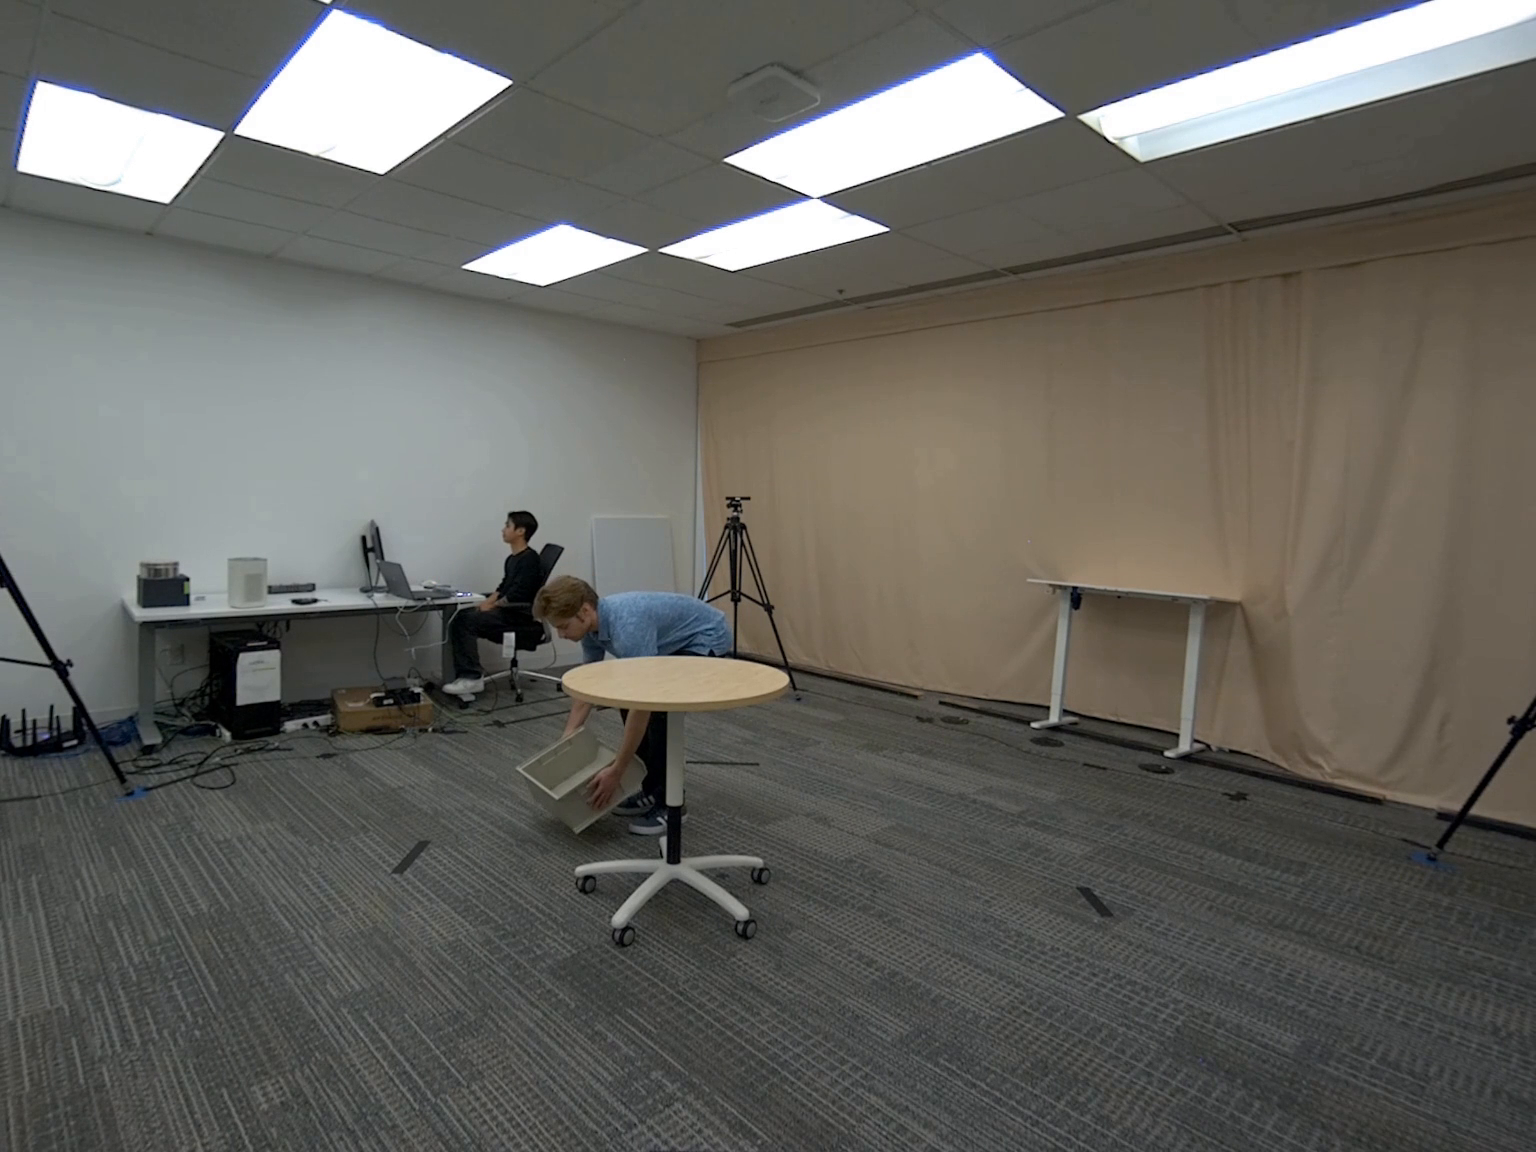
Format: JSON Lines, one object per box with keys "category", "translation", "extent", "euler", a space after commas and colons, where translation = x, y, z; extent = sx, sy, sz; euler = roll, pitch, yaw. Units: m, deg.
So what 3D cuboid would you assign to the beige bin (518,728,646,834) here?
{"category": "beige bin", "translation": [-0.779, 0.823, 3.475], "extent": [0.374, 0.186, 0.433], "euler": [-32, 23, -31]}
